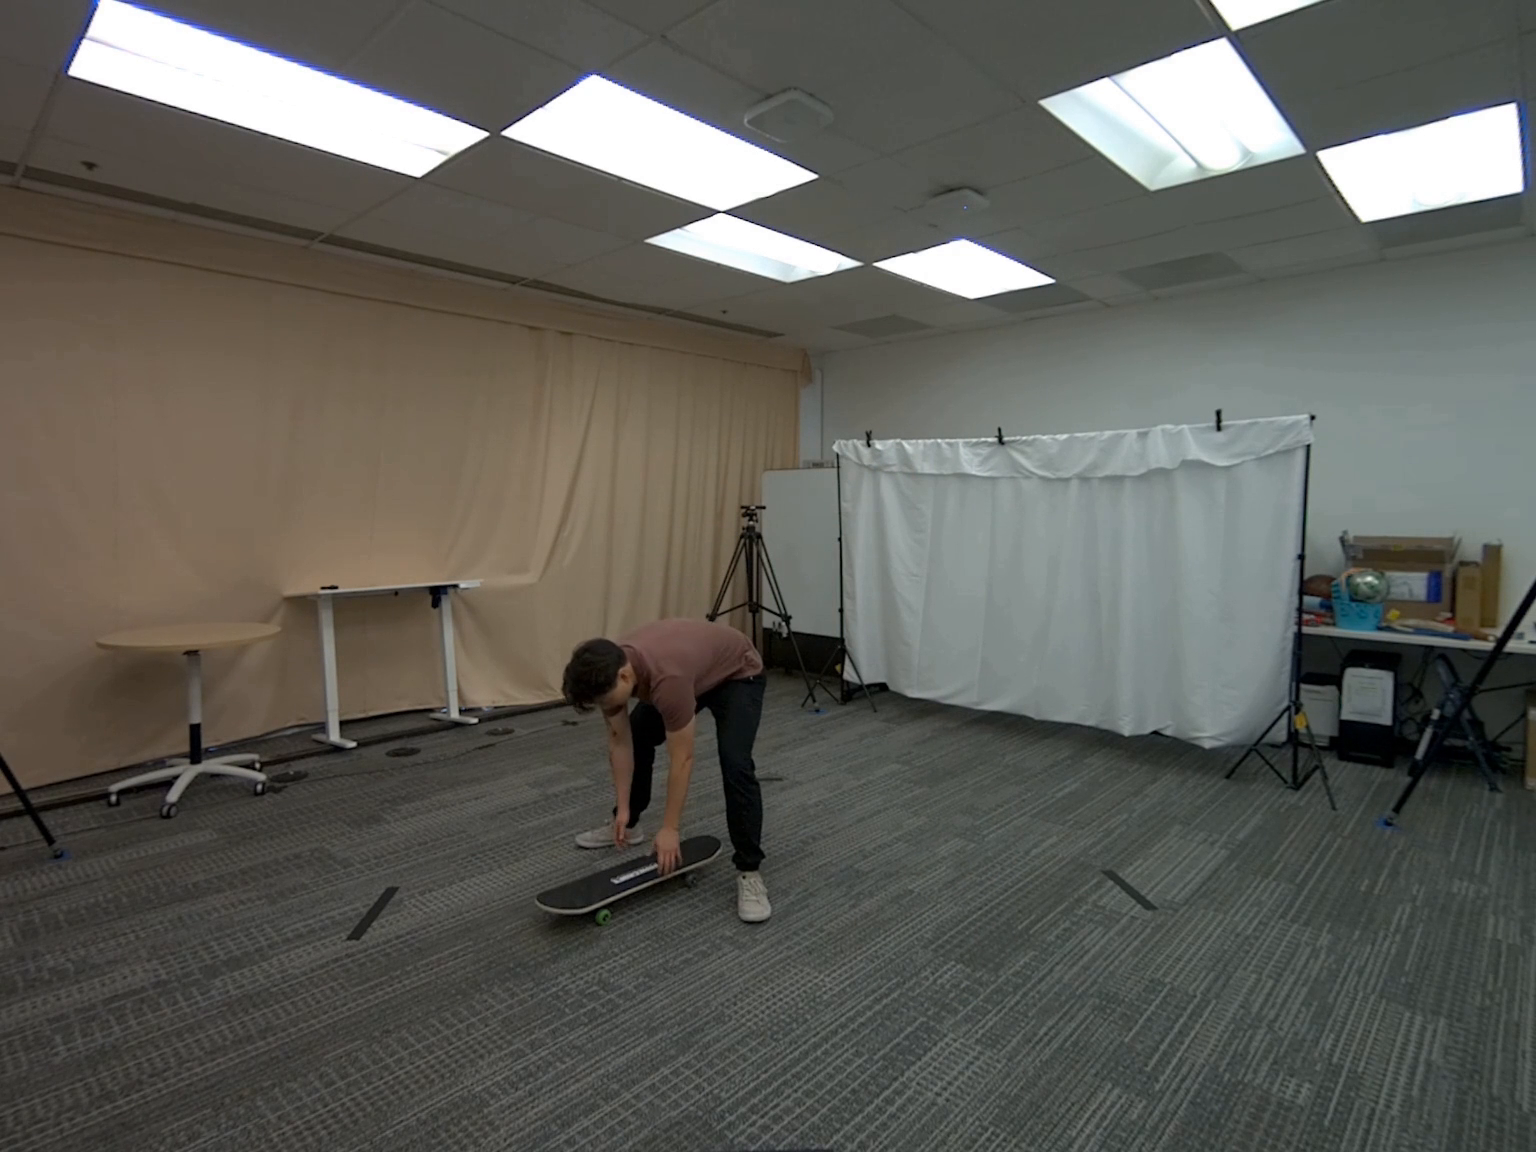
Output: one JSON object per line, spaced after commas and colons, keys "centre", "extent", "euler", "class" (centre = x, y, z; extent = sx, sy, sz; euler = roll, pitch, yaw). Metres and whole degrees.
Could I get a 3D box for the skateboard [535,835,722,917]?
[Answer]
{"centre": [-0.472, 1.094, 2.994], "extent": [0.200, 0.110, 0.761], "euler": [4, 7, 45], "class": "skateboard"}
